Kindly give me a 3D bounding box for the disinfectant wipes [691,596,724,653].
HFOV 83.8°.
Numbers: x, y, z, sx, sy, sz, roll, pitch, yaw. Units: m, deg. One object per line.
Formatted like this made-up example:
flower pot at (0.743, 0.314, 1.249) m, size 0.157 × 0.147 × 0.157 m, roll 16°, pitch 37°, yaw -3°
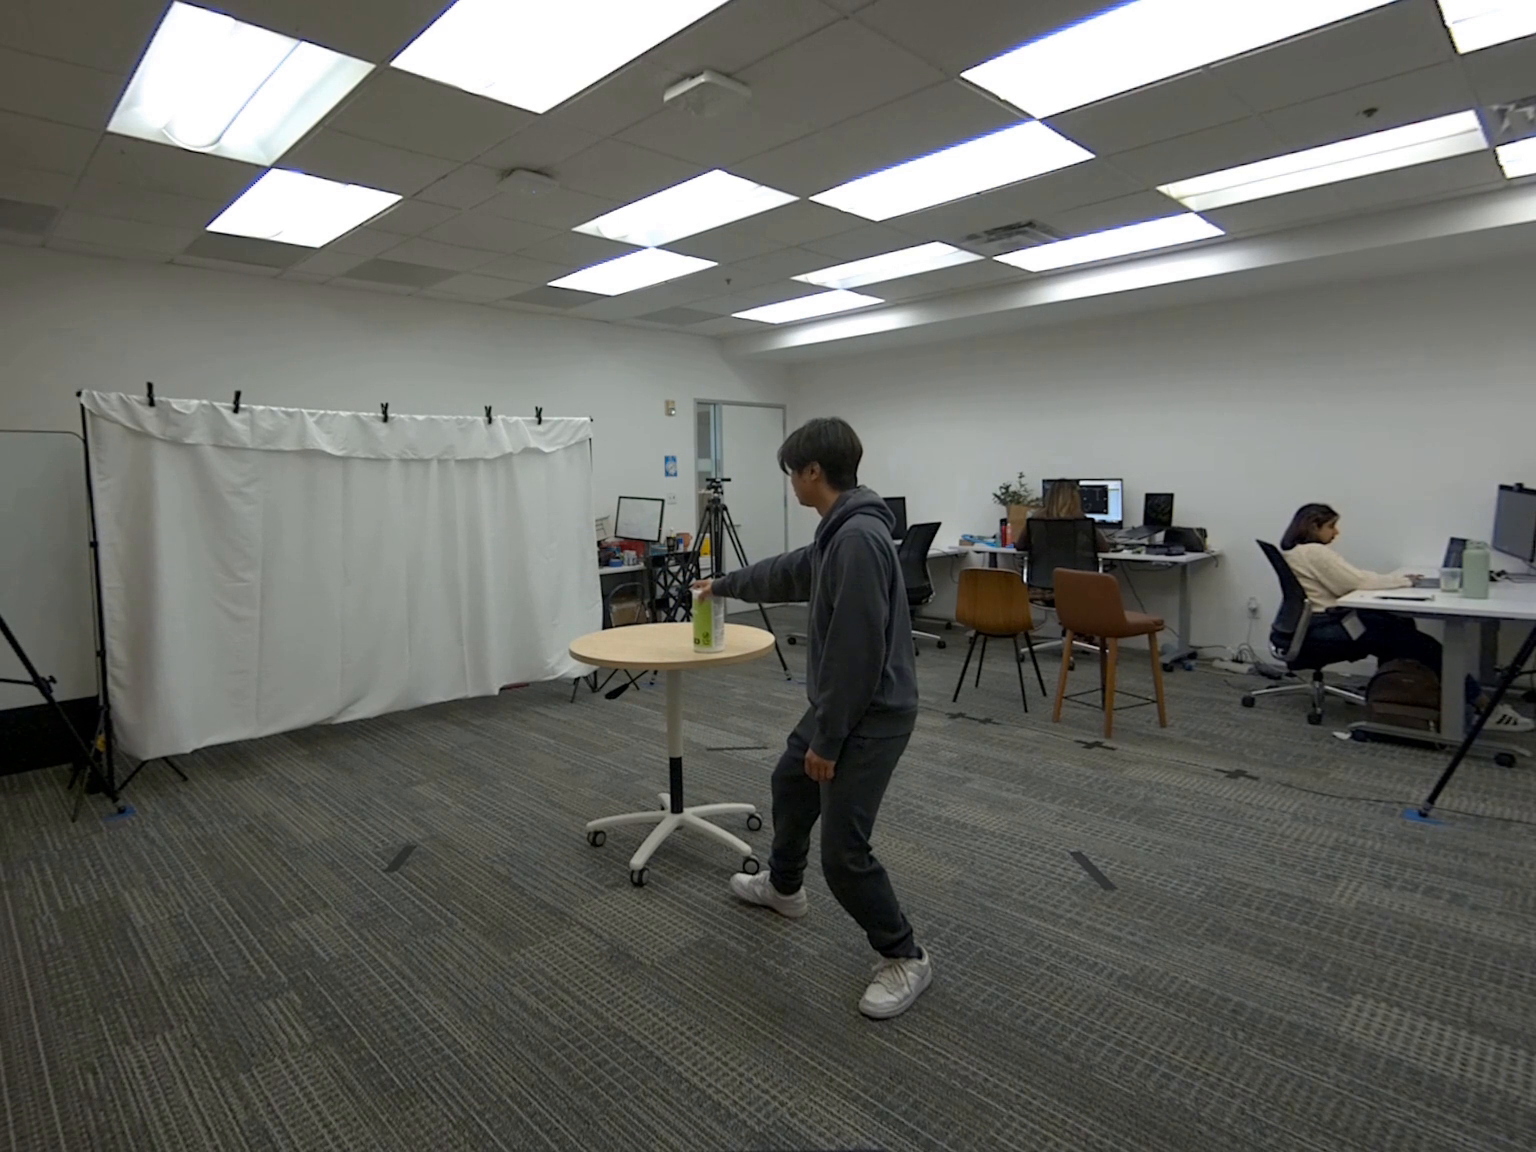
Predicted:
disinfectant wipes at (-0.204, 0.154, 2.987) m, size 0.118 × 0.216 × 0.118 m, roll 0°, pitch 5°, yaw -2°
